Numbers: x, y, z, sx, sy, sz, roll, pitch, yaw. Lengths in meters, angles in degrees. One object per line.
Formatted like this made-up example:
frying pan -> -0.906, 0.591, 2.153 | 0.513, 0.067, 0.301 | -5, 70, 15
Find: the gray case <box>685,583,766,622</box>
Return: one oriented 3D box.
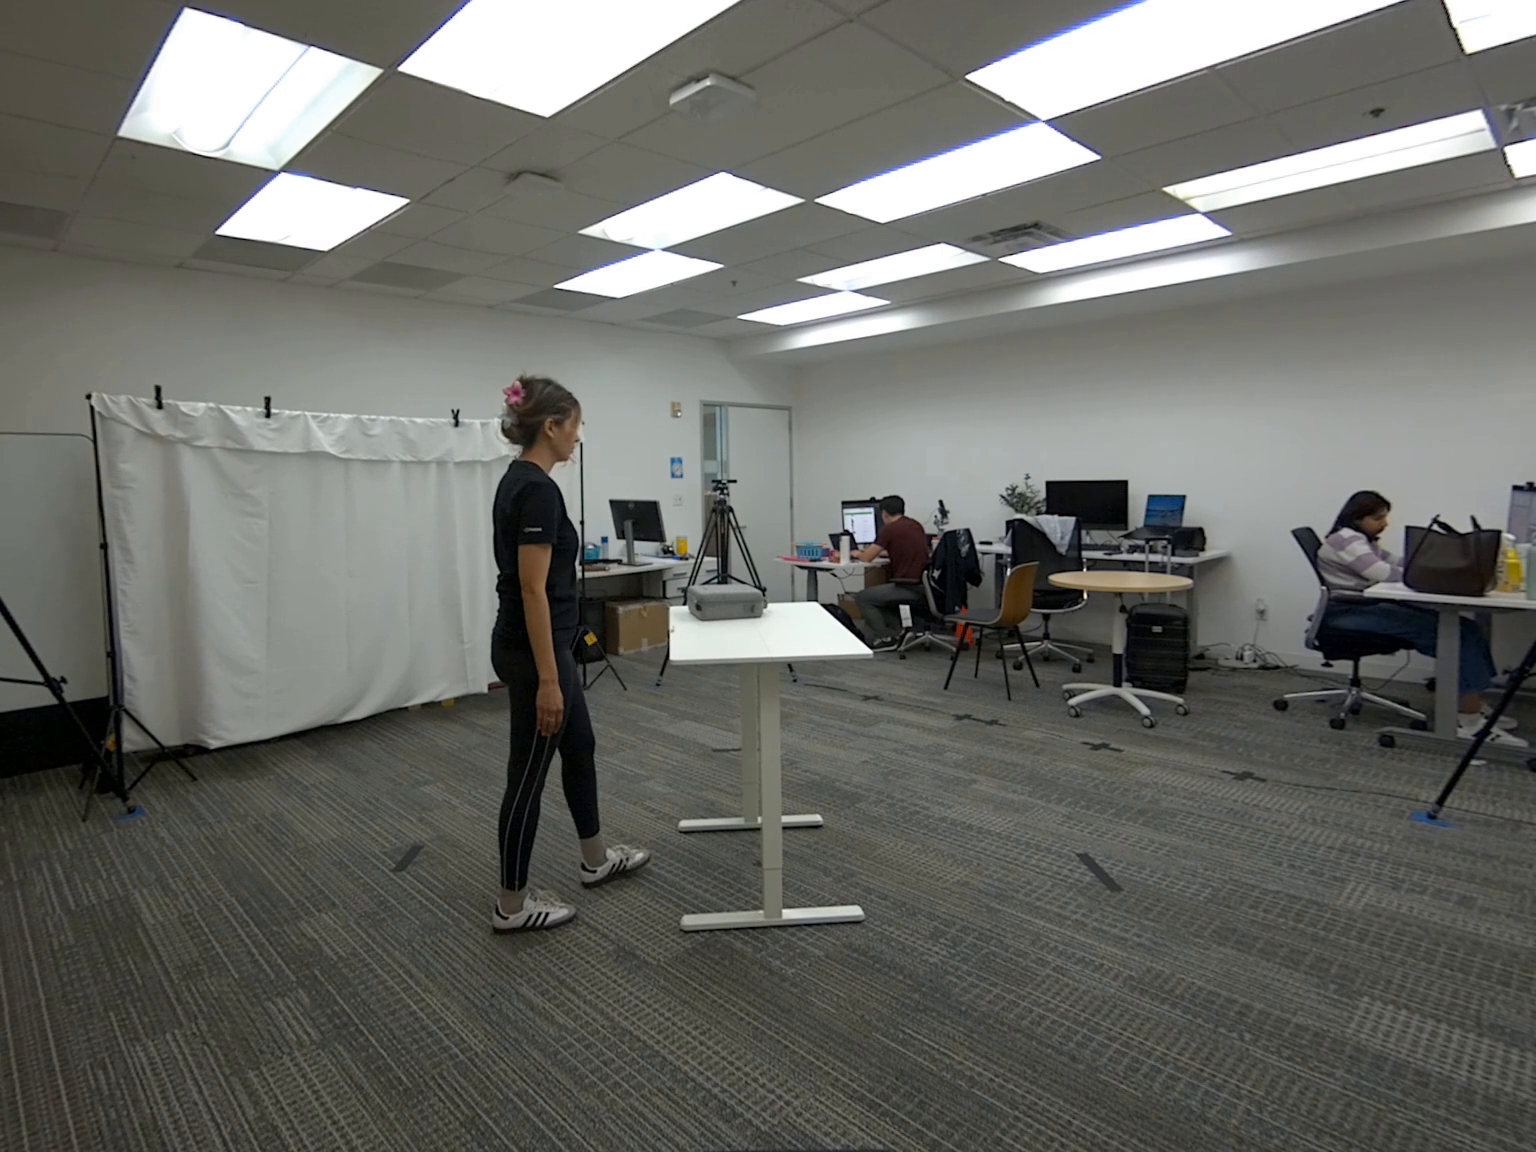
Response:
gray case -> -0.159, 0.095, 3.257 | 0.257, 0.104, 0.262 | -2, 6, -15
